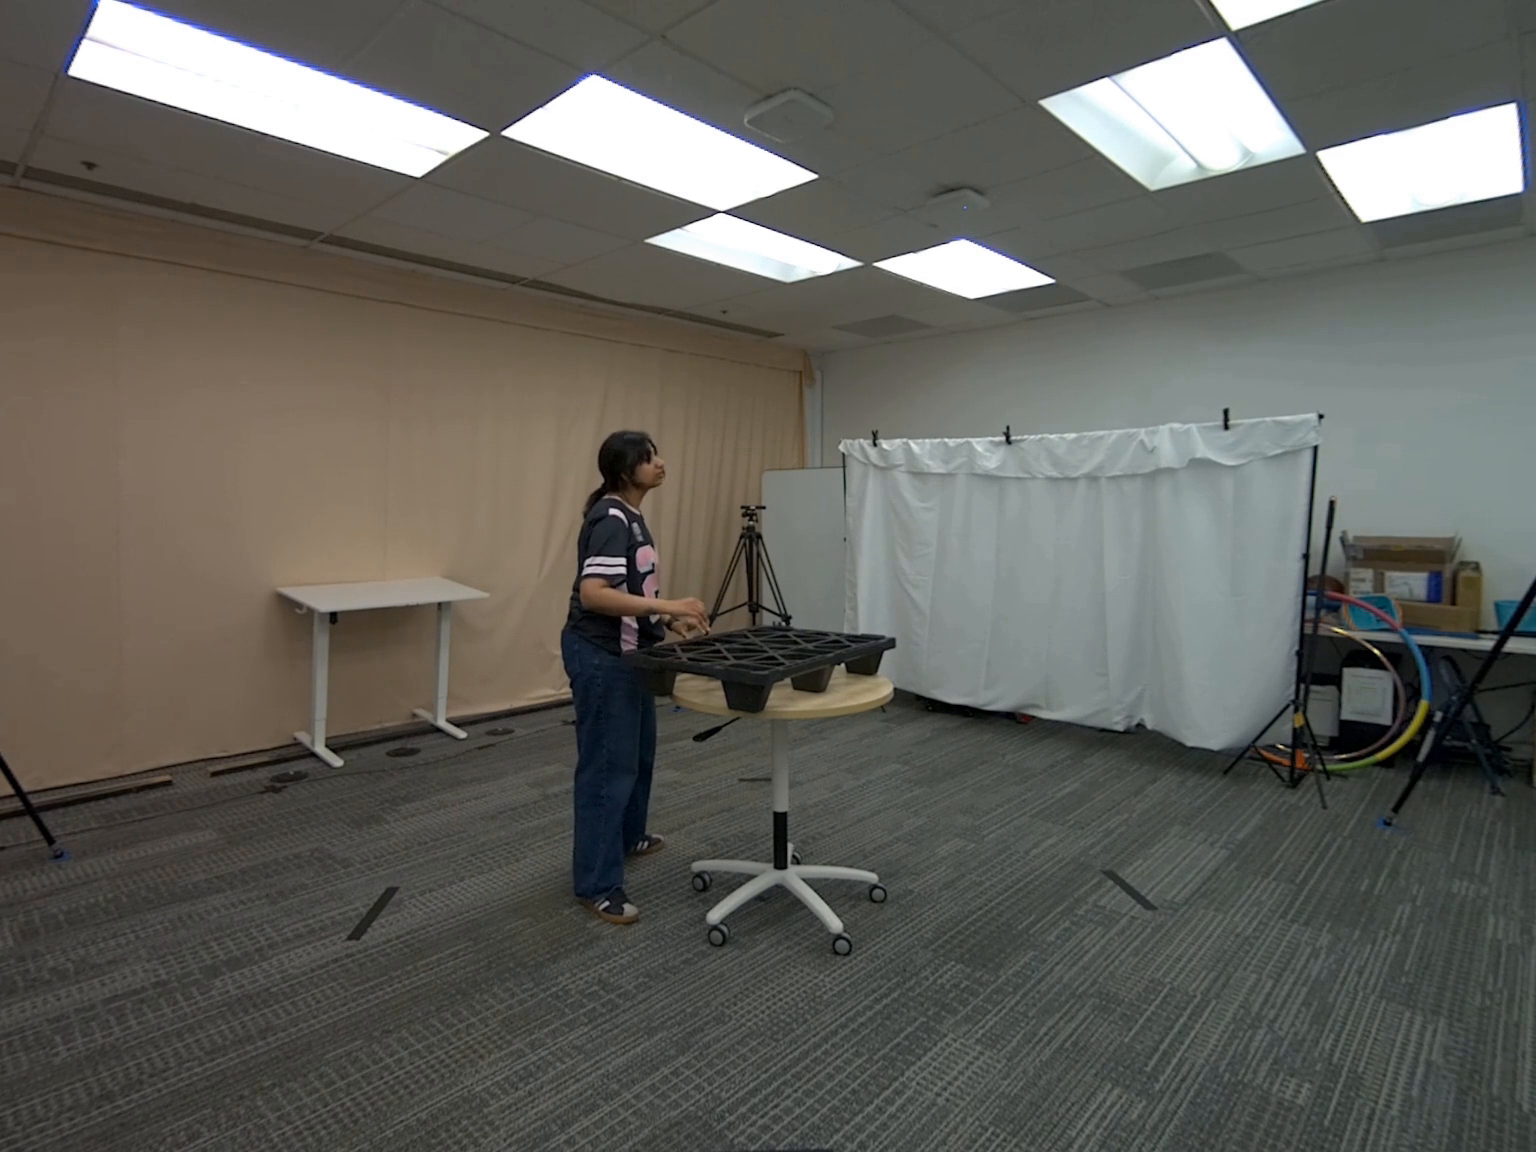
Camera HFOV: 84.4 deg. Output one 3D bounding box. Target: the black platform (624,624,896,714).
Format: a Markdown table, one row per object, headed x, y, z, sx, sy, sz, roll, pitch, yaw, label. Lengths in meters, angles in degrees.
| x | y | z | sx | sy | sz | roll | pitch | yaw | label |
| --- | --- | --- | --- | --- | --- | --- | --- | --- | --- |
| -0.018 | 0.305 | 2.882 | 0.625 | 0.143 | 0.782 | 2 | 5 | 38 | black platform |
